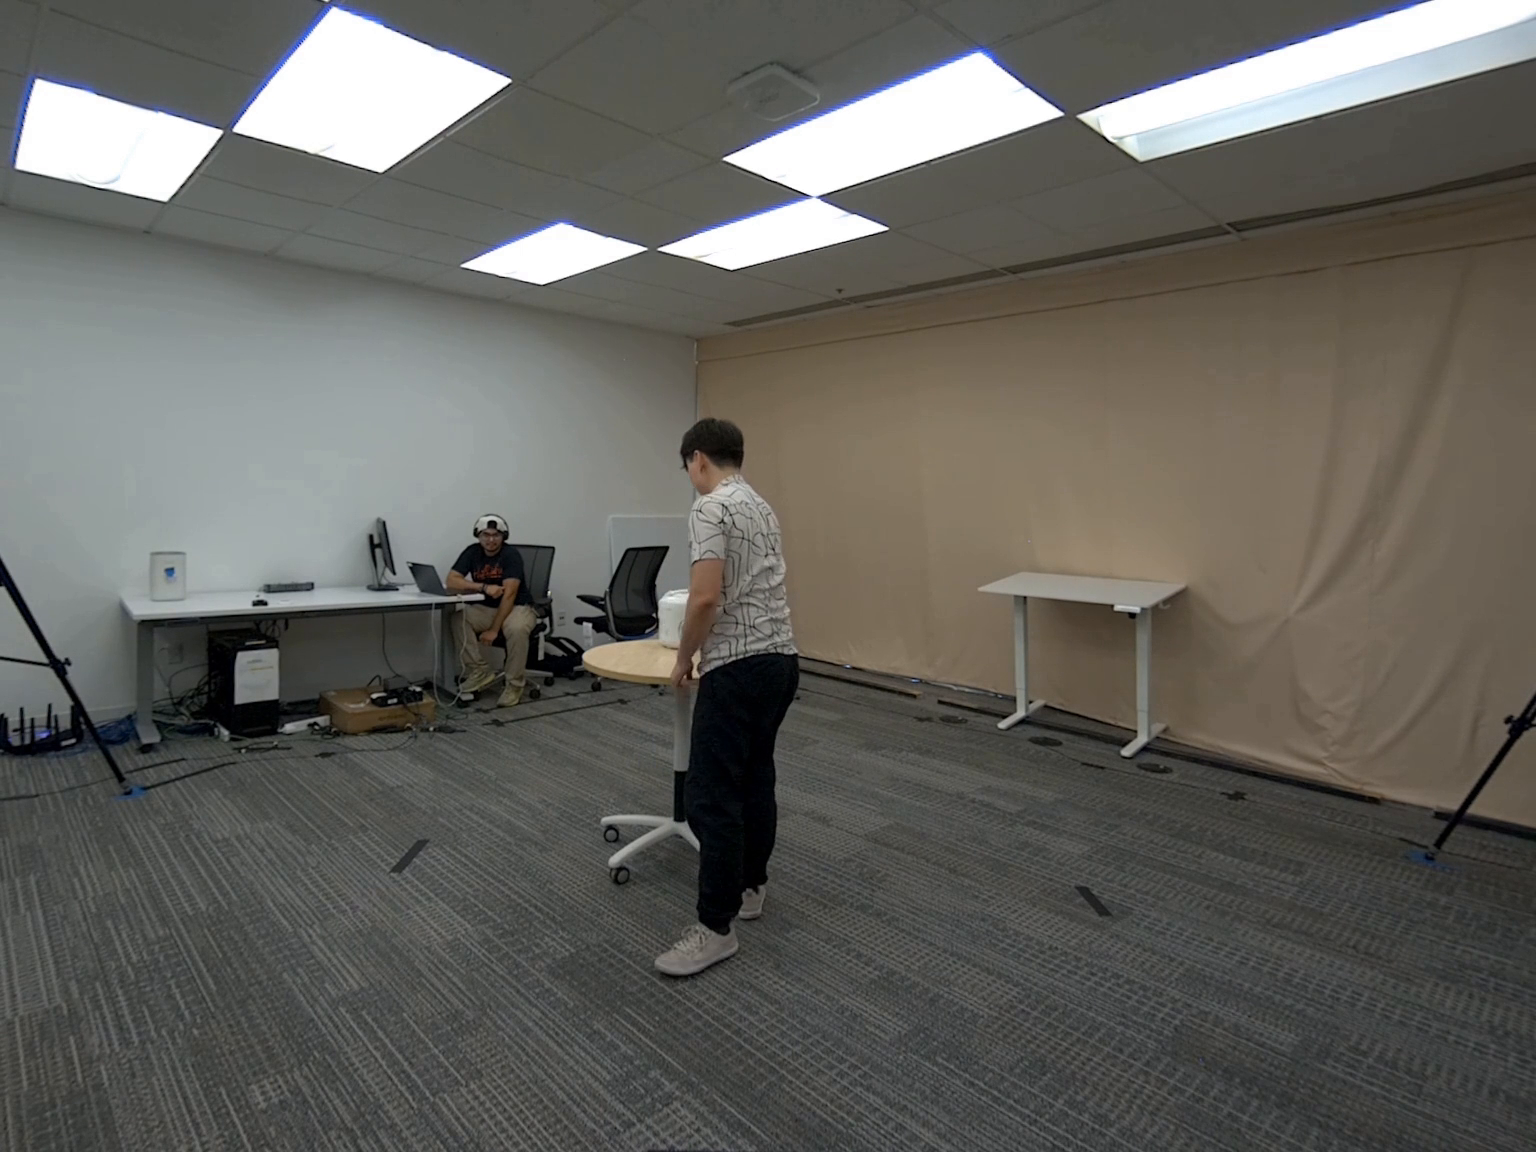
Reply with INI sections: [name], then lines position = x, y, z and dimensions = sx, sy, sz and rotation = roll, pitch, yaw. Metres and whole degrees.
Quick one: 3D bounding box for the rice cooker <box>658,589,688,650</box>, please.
[rice cooker]
position = -0.341, 0.172, 3.430
dimensions = 0.219, 0.232, 0.219
rotation = 1, 3, -8
